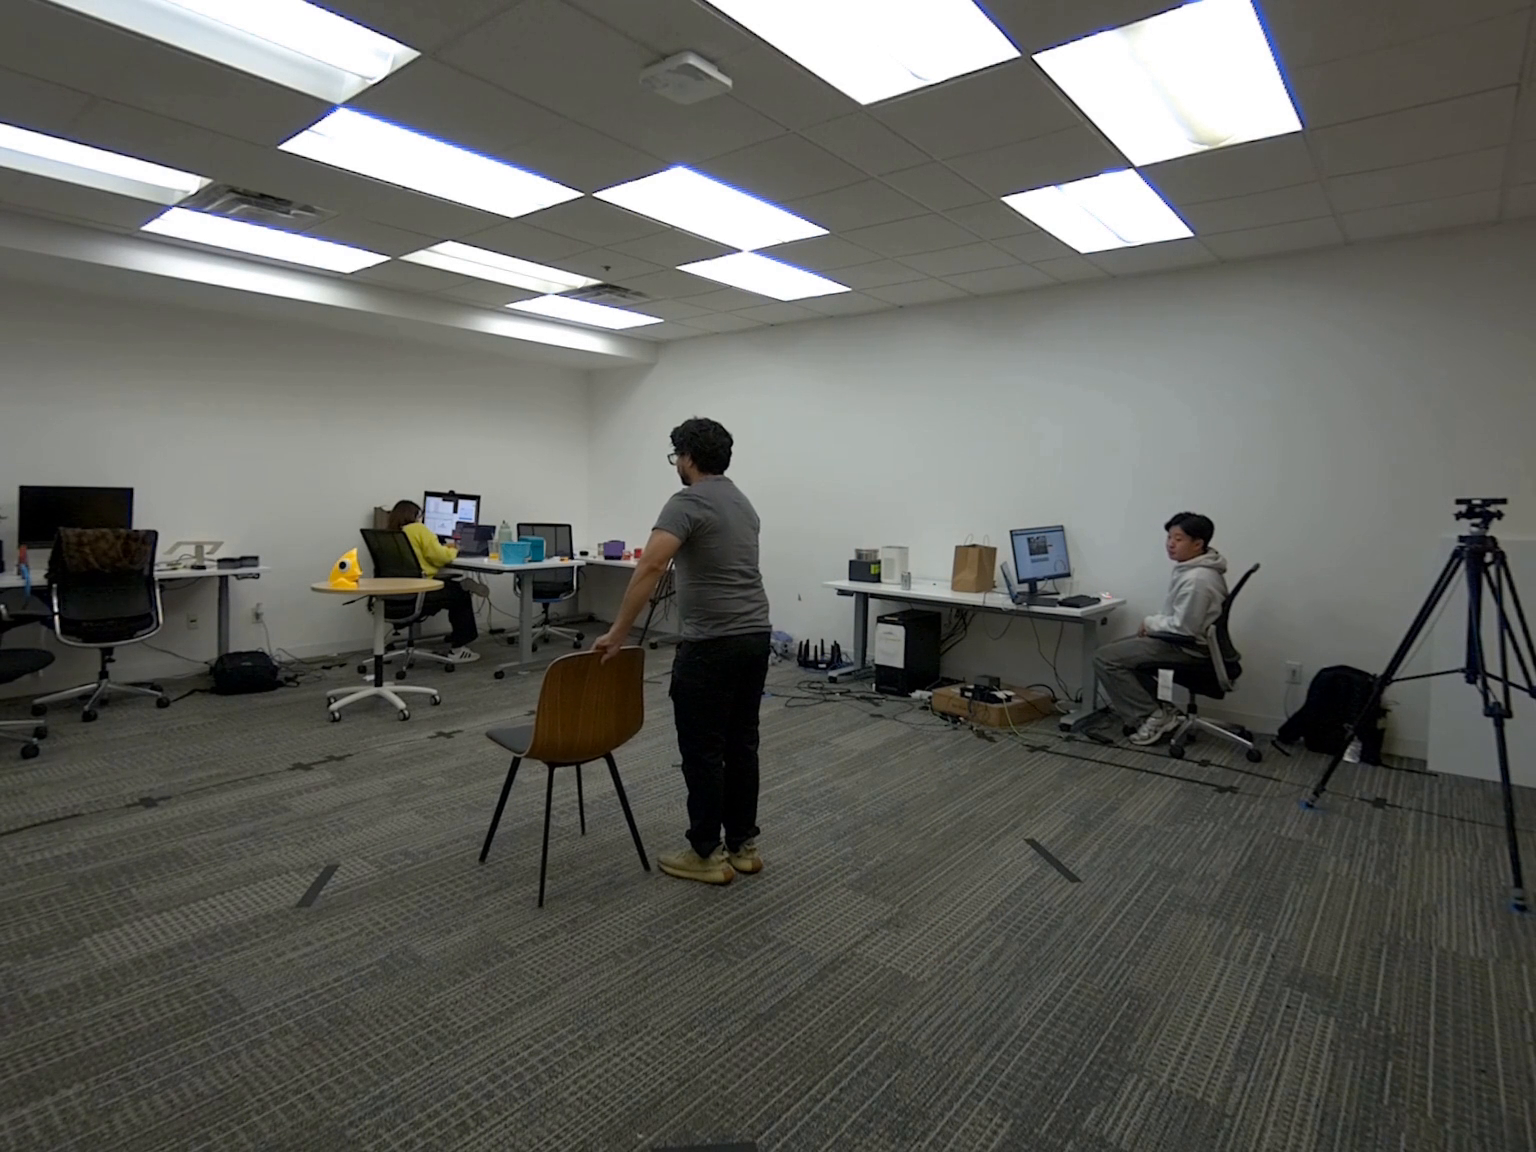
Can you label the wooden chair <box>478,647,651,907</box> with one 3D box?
[{"bbox_3d":[-0.754,0.638,3.088,0.464,0.872,0.542,-2,9,-42],"label":"wooden chair"}]
